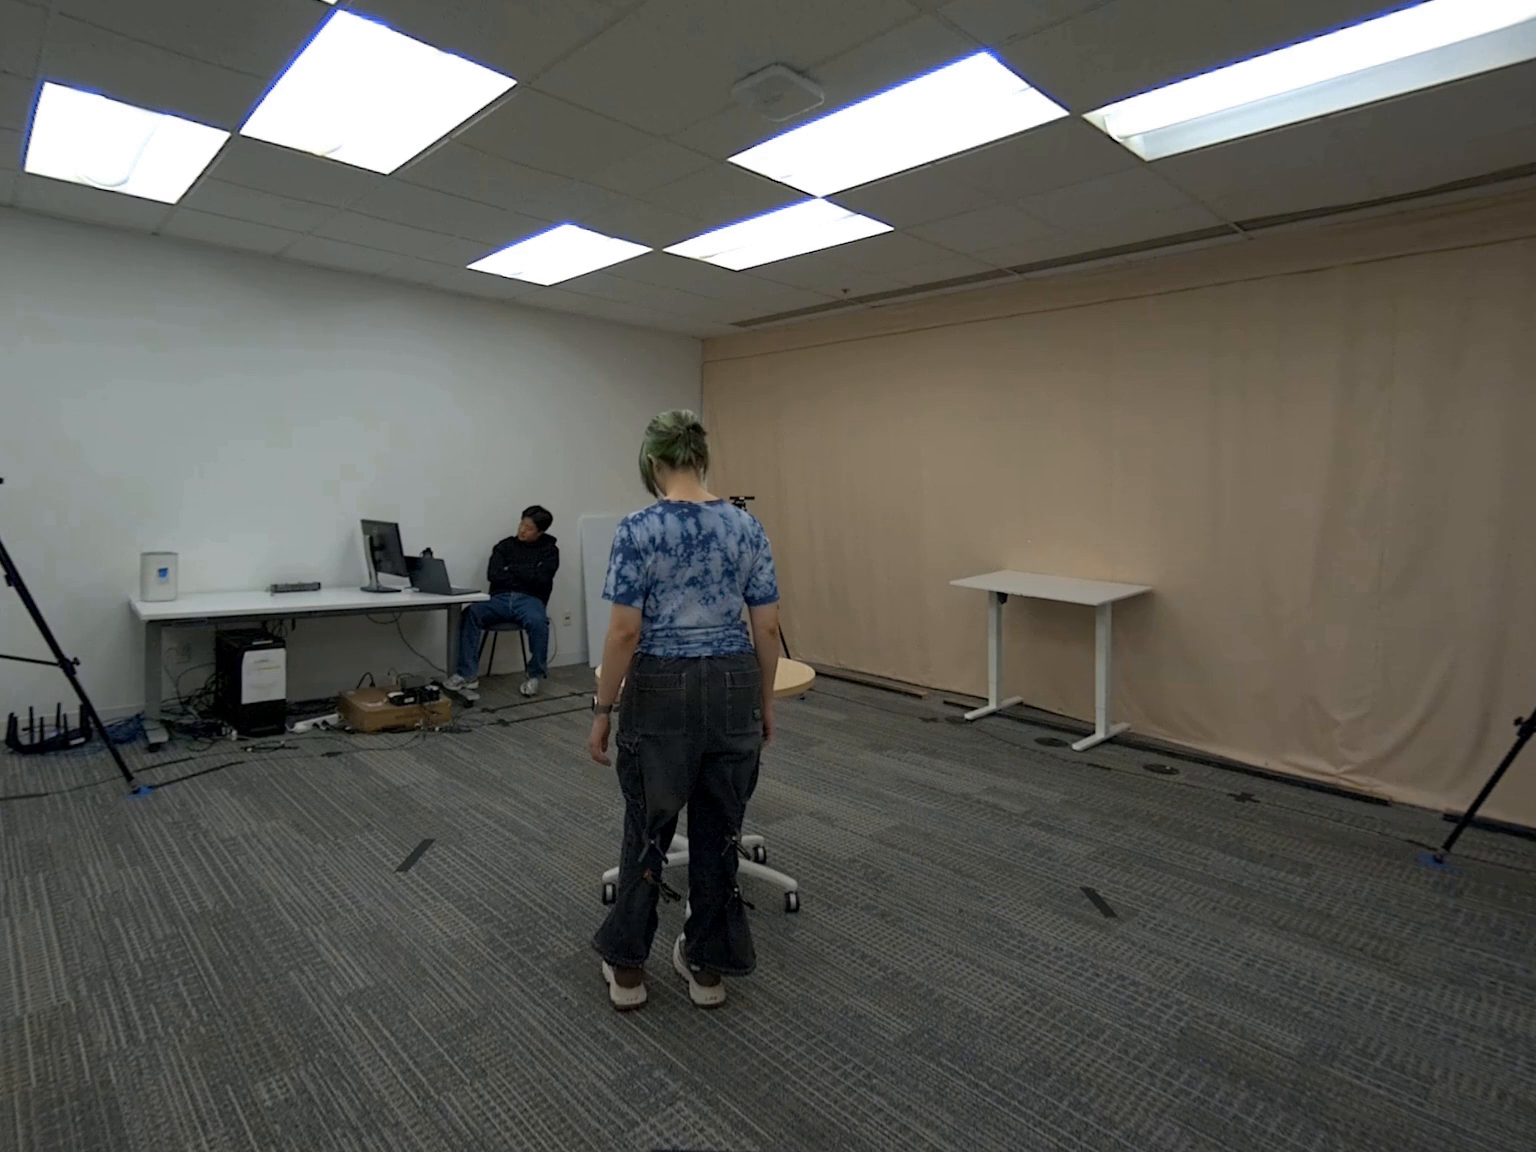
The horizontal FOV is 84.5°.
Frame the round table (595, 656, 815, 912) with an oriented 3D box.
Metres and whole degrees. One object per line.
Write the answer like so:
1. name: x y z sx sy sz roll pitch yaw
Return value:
1. round table: -0.227 0.727 2.968 0.763 0.792 0.766 1 4 -1
